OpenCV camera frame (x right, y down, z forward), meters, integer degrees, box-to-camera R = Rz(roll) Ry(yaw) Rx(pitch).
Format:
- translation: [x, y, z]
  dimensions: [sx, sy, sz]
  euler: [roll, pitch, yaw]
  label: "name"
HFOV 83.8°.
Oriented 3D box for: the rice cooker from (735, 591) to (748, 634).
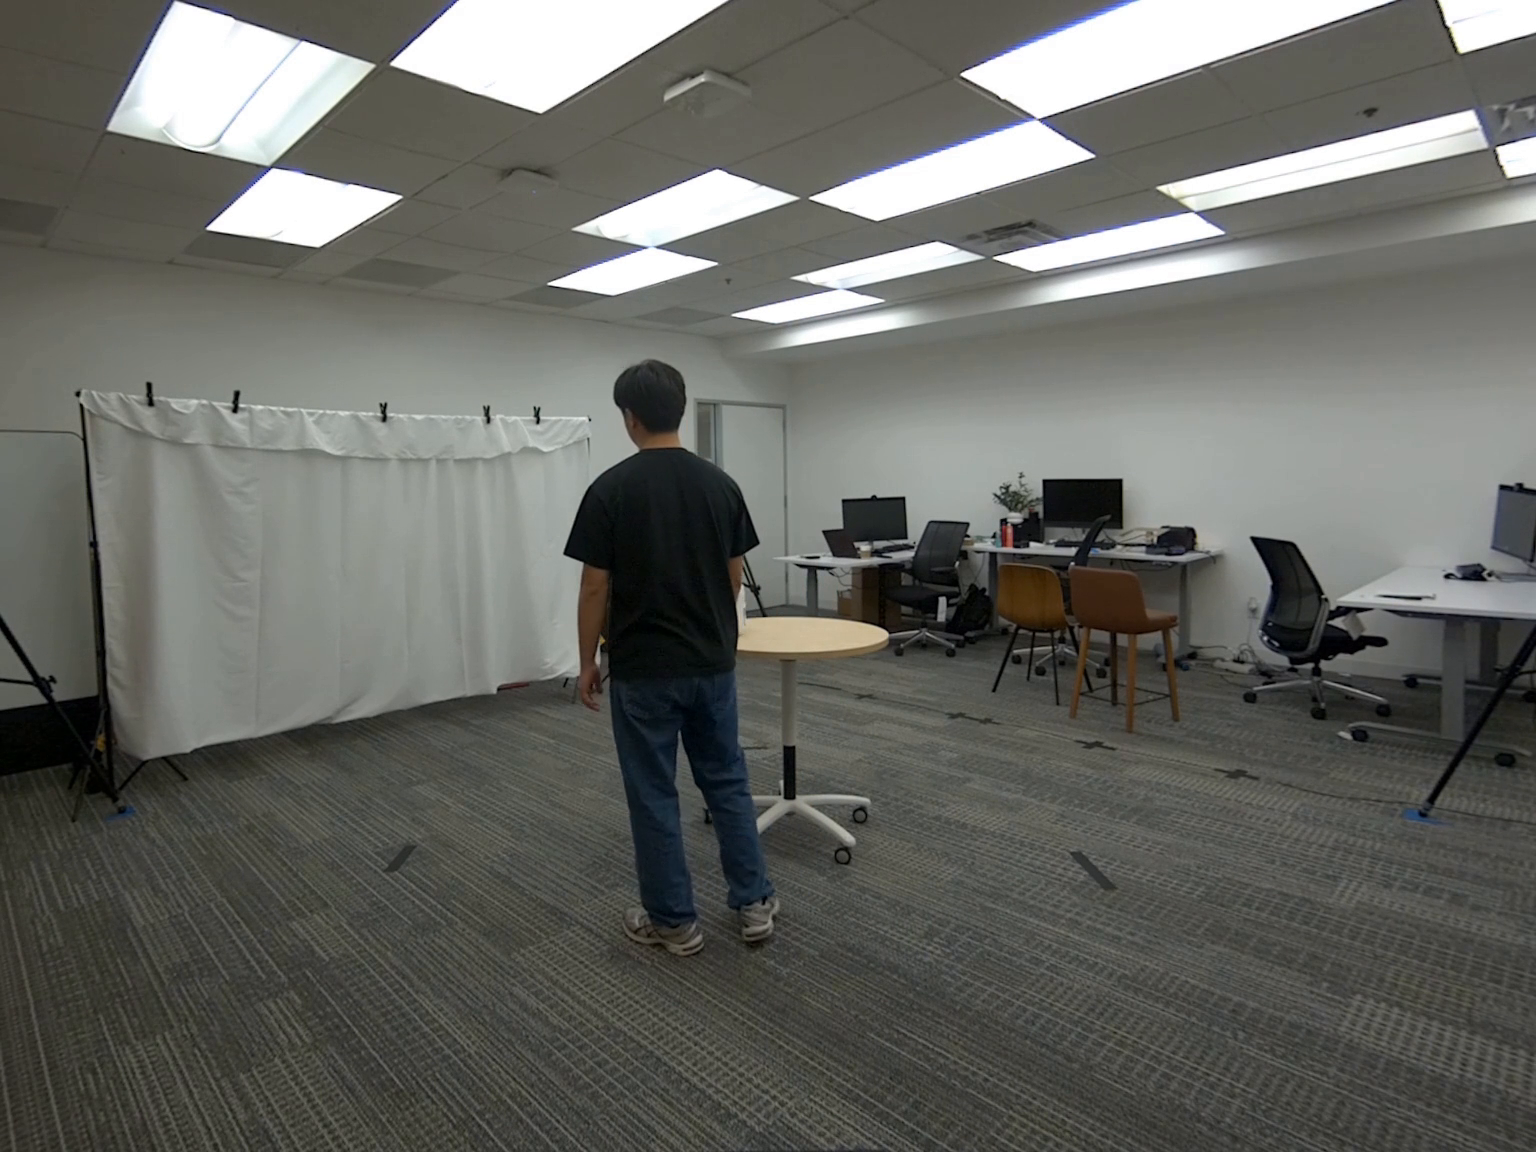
- translation: [-0.185, 0.109, 3.283]
  dimensions: [0.218, 0.232, 0.221]
  euler: [-2, 5, 3]
  label: "rice cooker"
